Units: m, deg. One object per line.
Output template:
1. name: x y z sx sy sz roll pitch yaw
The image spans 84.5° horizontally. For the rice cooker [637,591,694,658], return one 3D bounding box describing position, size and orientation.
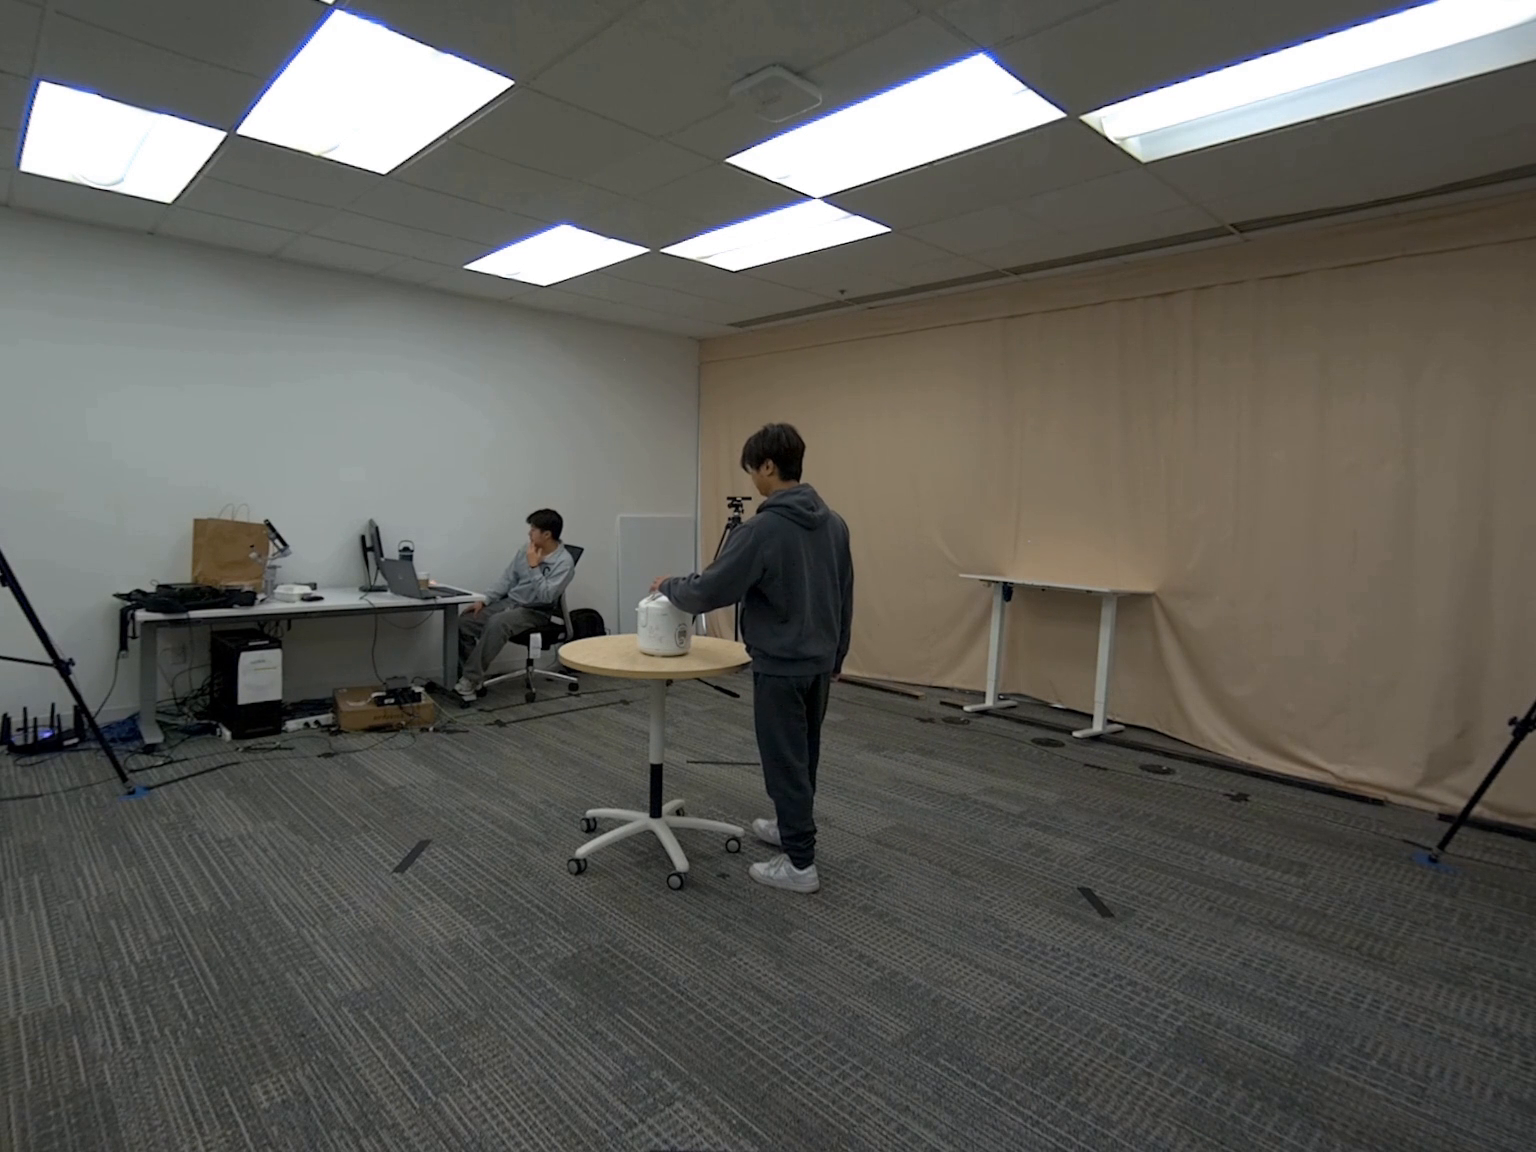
1. rice cooker: -0.394 0.176 3.212 0.216 0.232 0.223 -4 7 -43
